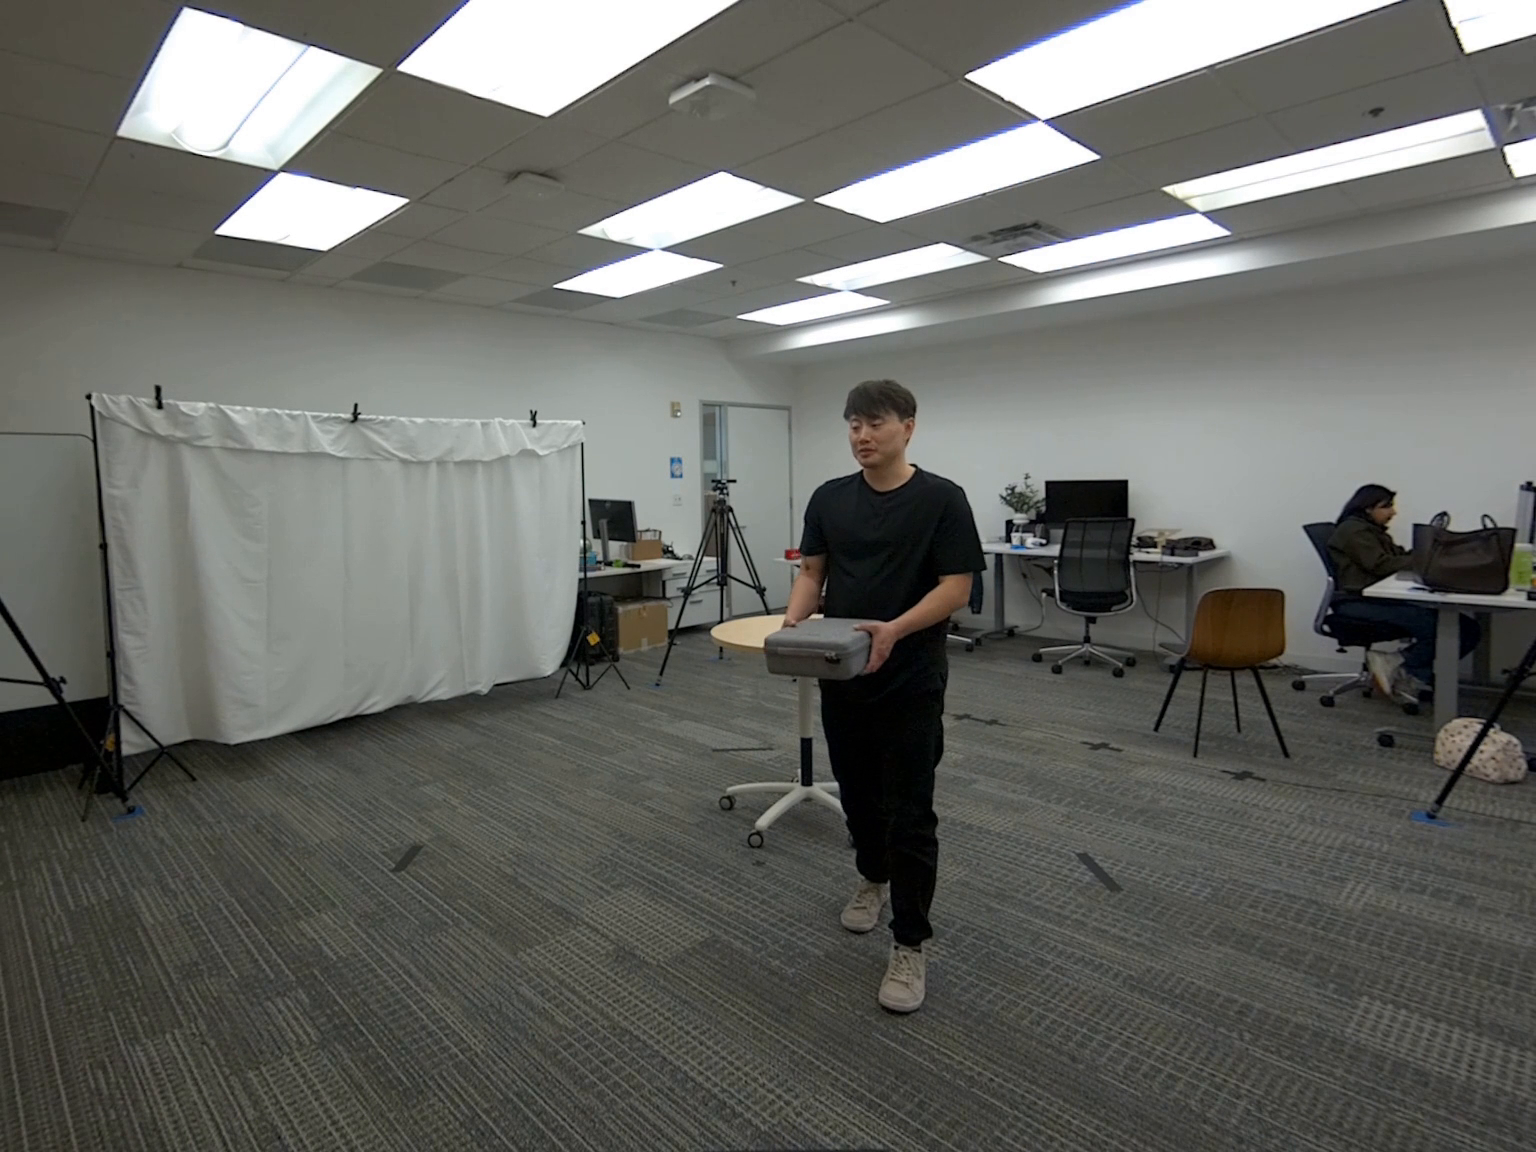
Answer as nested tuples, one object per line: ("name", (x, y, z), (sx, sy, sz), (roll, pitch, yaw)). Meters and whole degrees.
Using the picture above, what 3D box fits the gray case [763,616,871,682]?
("gray case", (0.156, 0.188, 2.246), (0.263, 0.104, 0.255), (-2, 8, 33))
